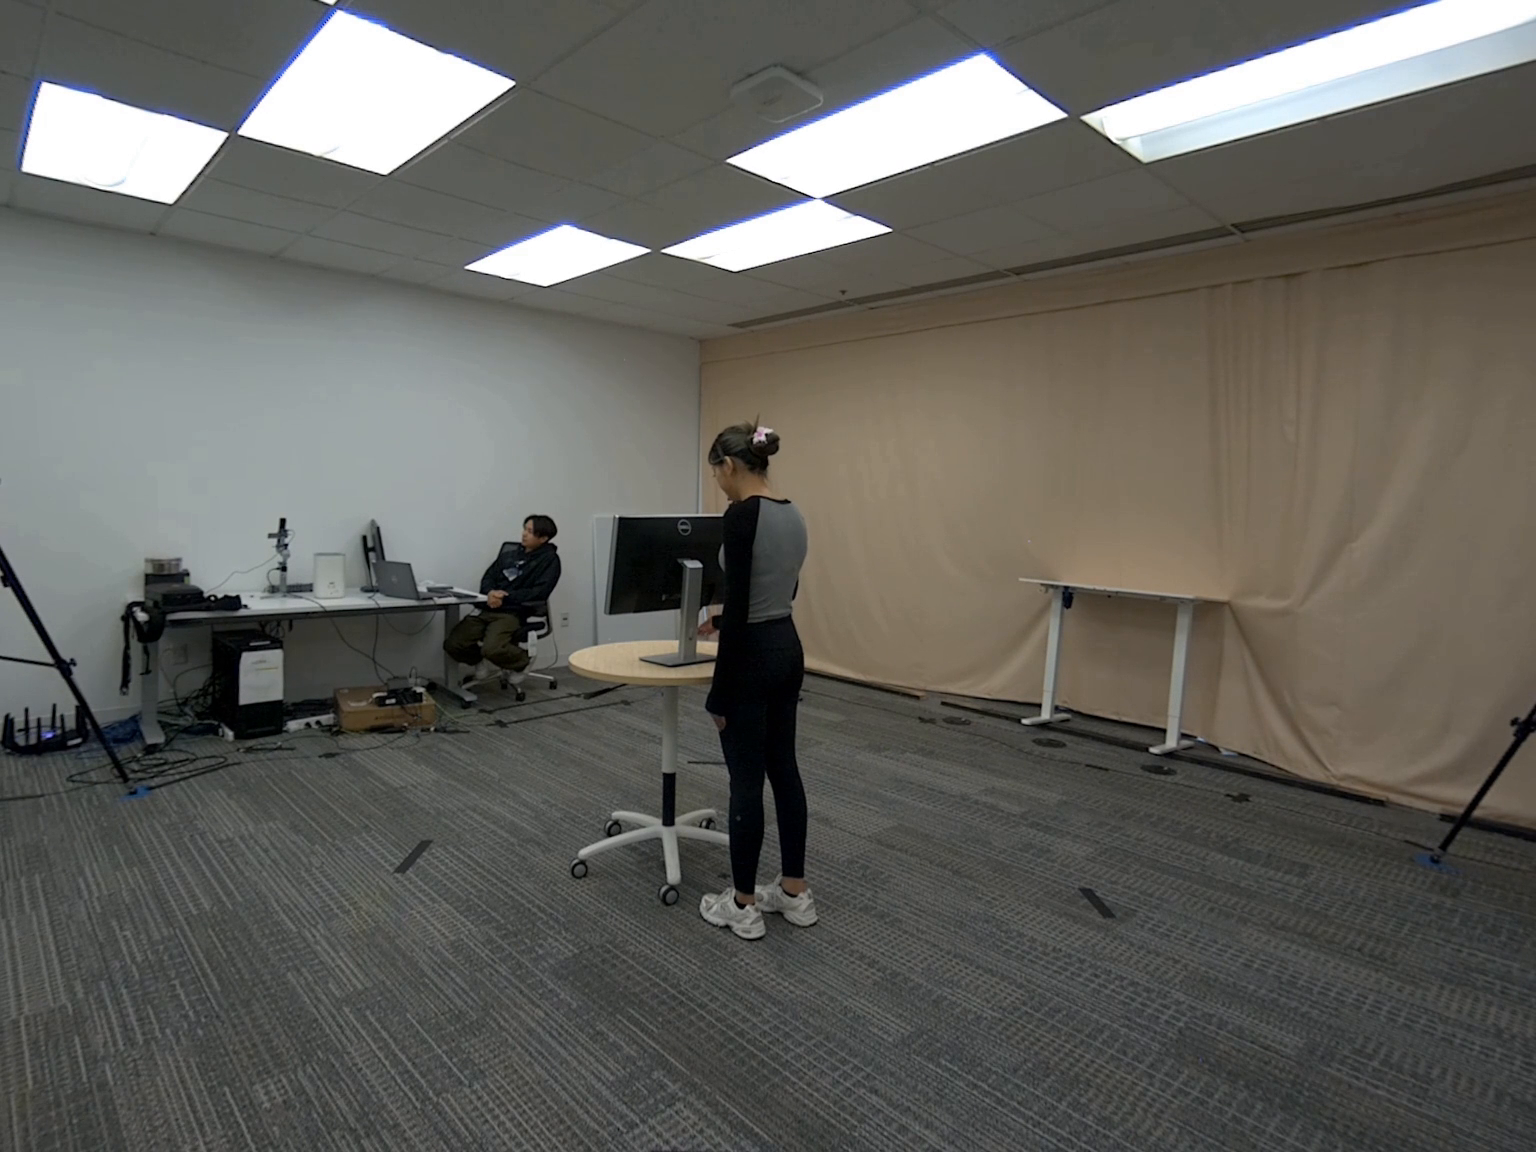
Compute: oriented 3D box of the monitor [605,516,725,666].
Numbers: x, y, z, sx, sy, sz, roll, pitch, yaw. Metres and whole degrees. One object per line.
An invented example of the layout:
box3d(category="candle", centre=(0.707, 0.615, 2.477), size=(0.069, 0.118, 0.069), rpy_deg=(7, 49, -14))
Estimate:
box3d(category="monitor", centre=(-0.327, 0.049, 3.109), size=(0.527, 0.522, 0.192), rpy_deg=(-3, 3, -44))
